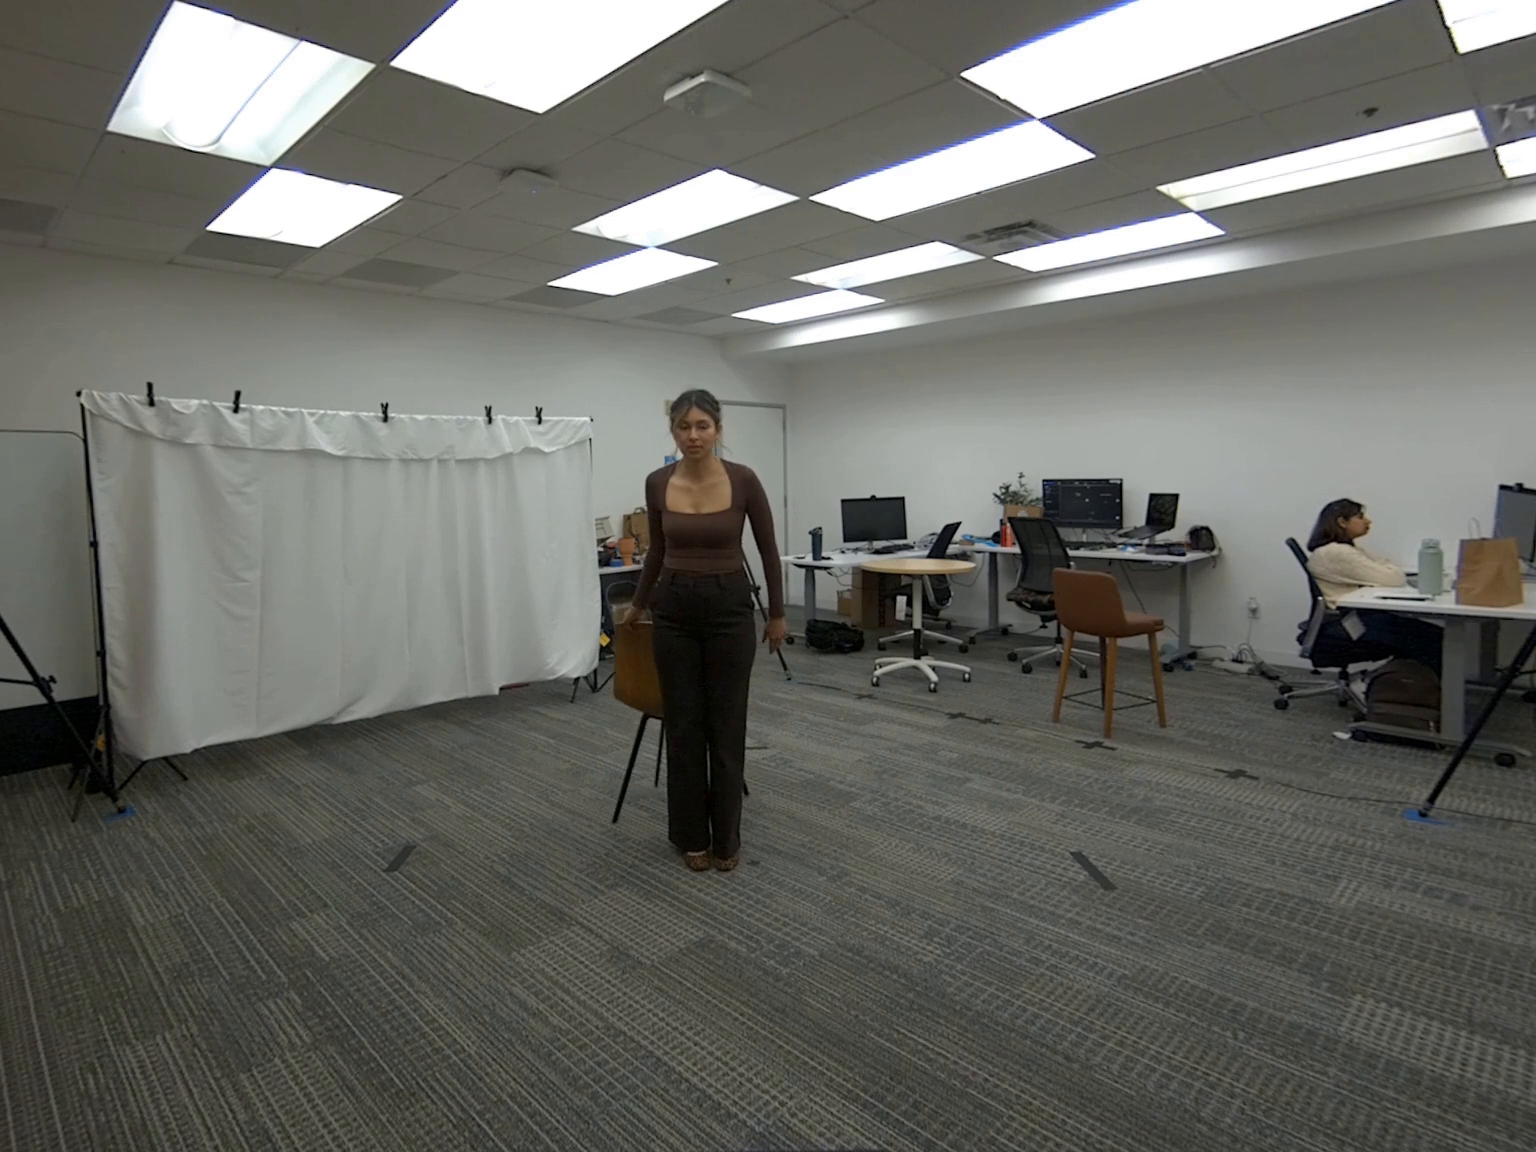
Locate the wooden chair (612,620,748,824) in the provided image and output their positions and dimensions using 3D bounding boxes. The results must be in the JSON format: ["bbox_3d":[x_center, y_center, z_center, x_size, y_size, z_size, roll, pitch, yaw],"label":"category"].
[{"bbox_3d":[-0.365,0.563,3.602,0.486,0.871,0.518,0,8,17],"label":"wooden chair"}]
